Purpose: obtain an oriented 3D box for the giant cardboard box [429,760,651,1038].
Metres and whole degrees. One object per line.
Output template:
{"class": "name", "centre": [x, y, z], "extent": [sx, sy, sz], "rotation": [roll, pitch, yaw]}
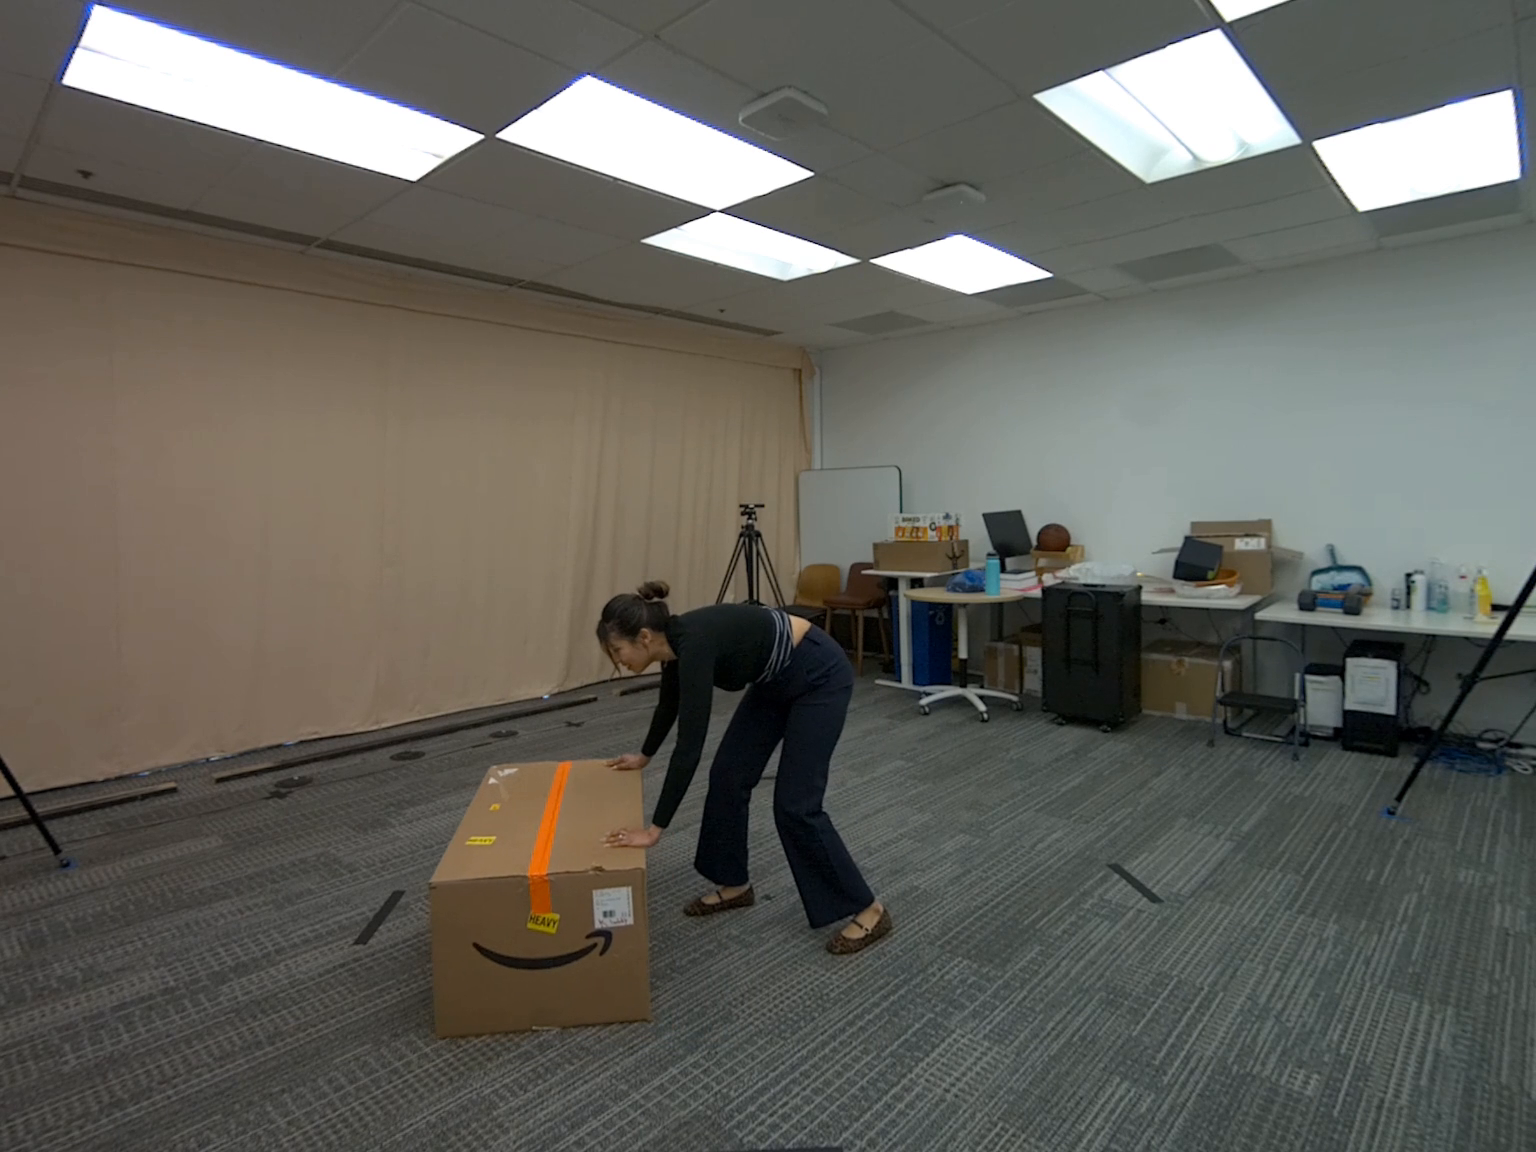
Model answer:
{"class": "giant cardboard box", "centre": [-0.681, 0.957, 2.740], "extent": [0.573, 0.425, 1.037], "rotation": [-1, 4, -9]}
